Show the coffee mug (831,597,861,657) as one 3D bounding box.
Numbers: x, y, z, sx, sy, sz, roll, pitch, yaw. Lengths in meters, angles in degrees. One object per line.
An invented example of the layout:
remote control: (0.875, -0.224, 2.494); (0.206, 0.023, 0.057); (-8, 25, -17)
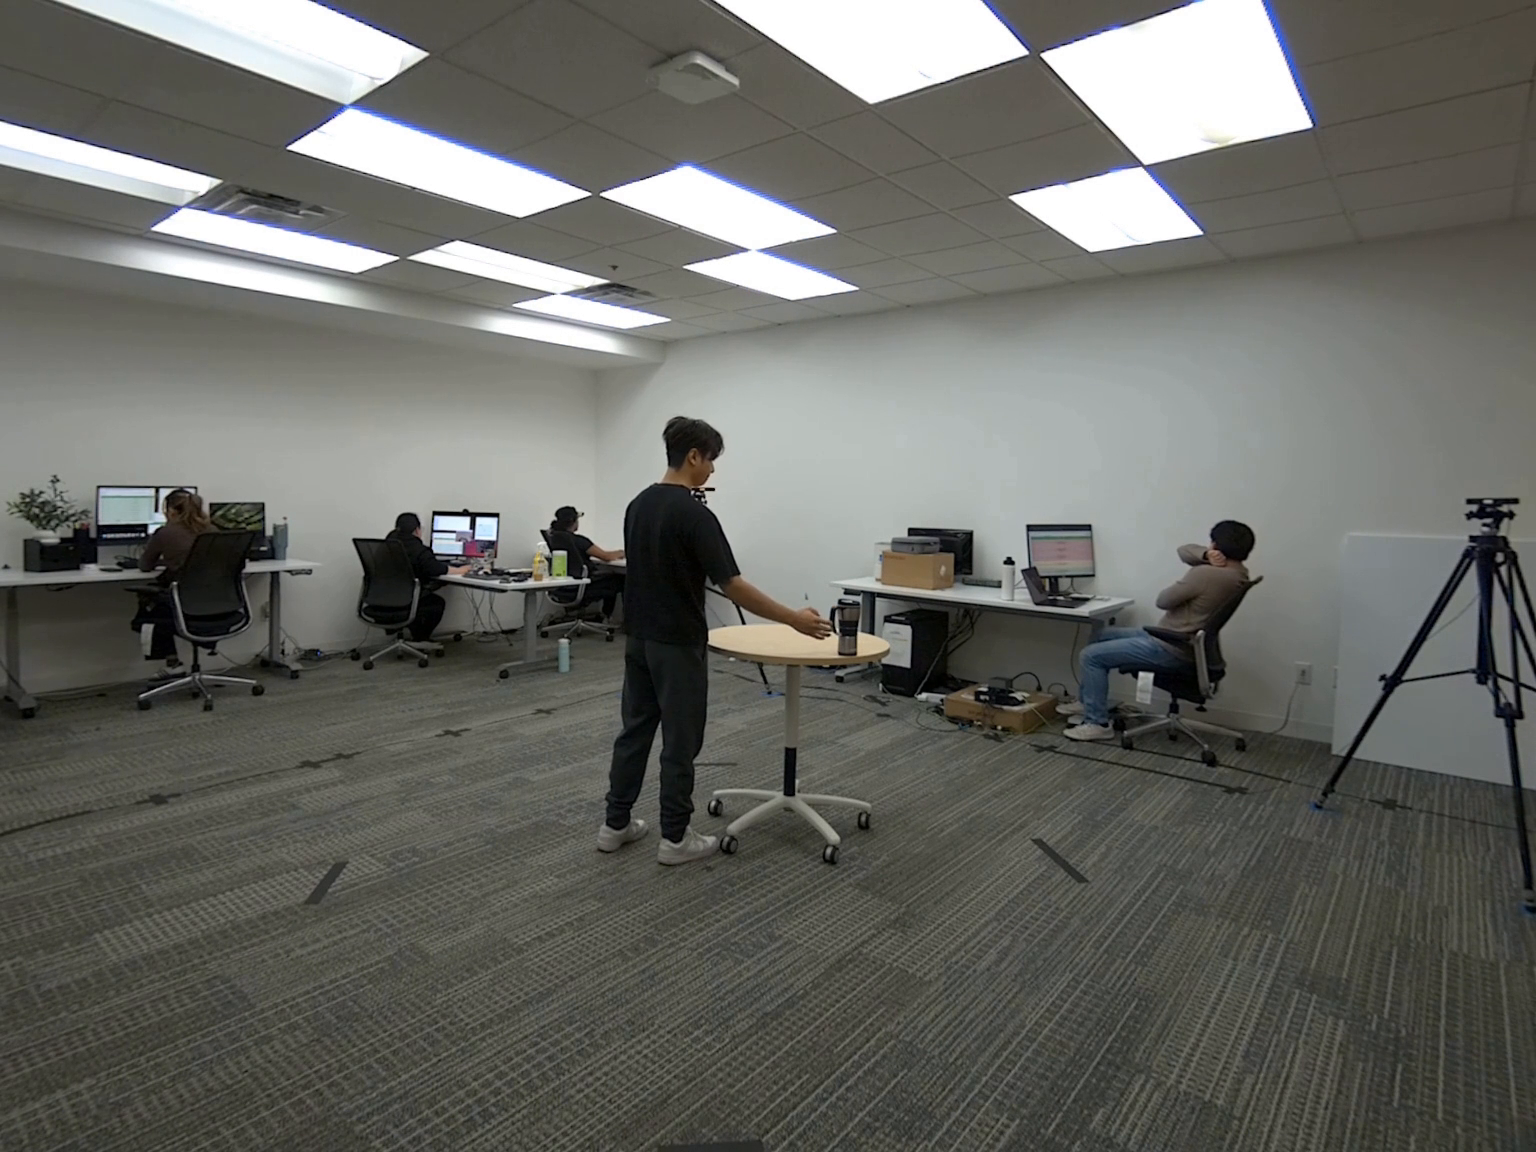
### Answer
coffee mug: (0.274, 0.191, 3.175); (0.126, 0.201, 0.085); (8, 9, 34)
